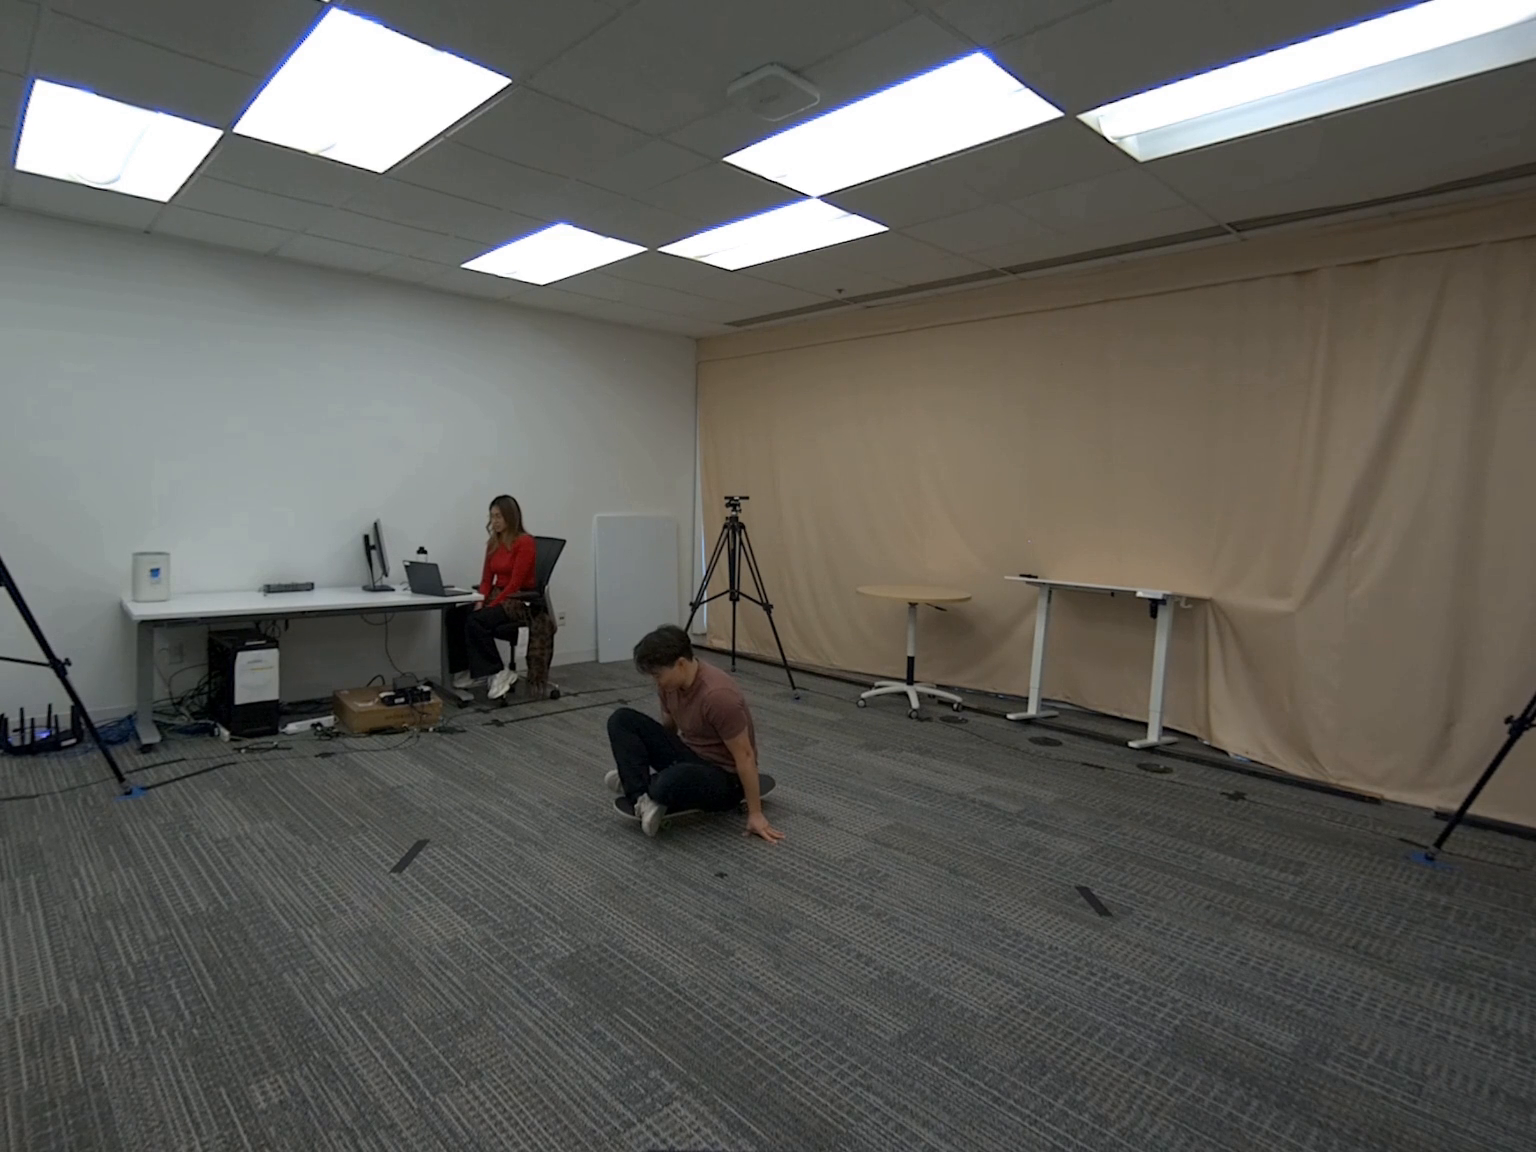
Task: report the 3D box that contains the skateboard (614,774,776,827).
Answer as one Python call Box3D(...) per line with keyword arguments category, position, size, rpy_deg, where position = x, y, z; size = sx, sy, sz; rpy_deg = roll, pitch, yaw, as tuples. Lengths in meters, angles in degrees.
Box3D(category="skateboard", position=(-0.327, 0.996, 3.702), size=(0.769, 0.109, 0.199), rpy_deg=(1, 14, -28))
